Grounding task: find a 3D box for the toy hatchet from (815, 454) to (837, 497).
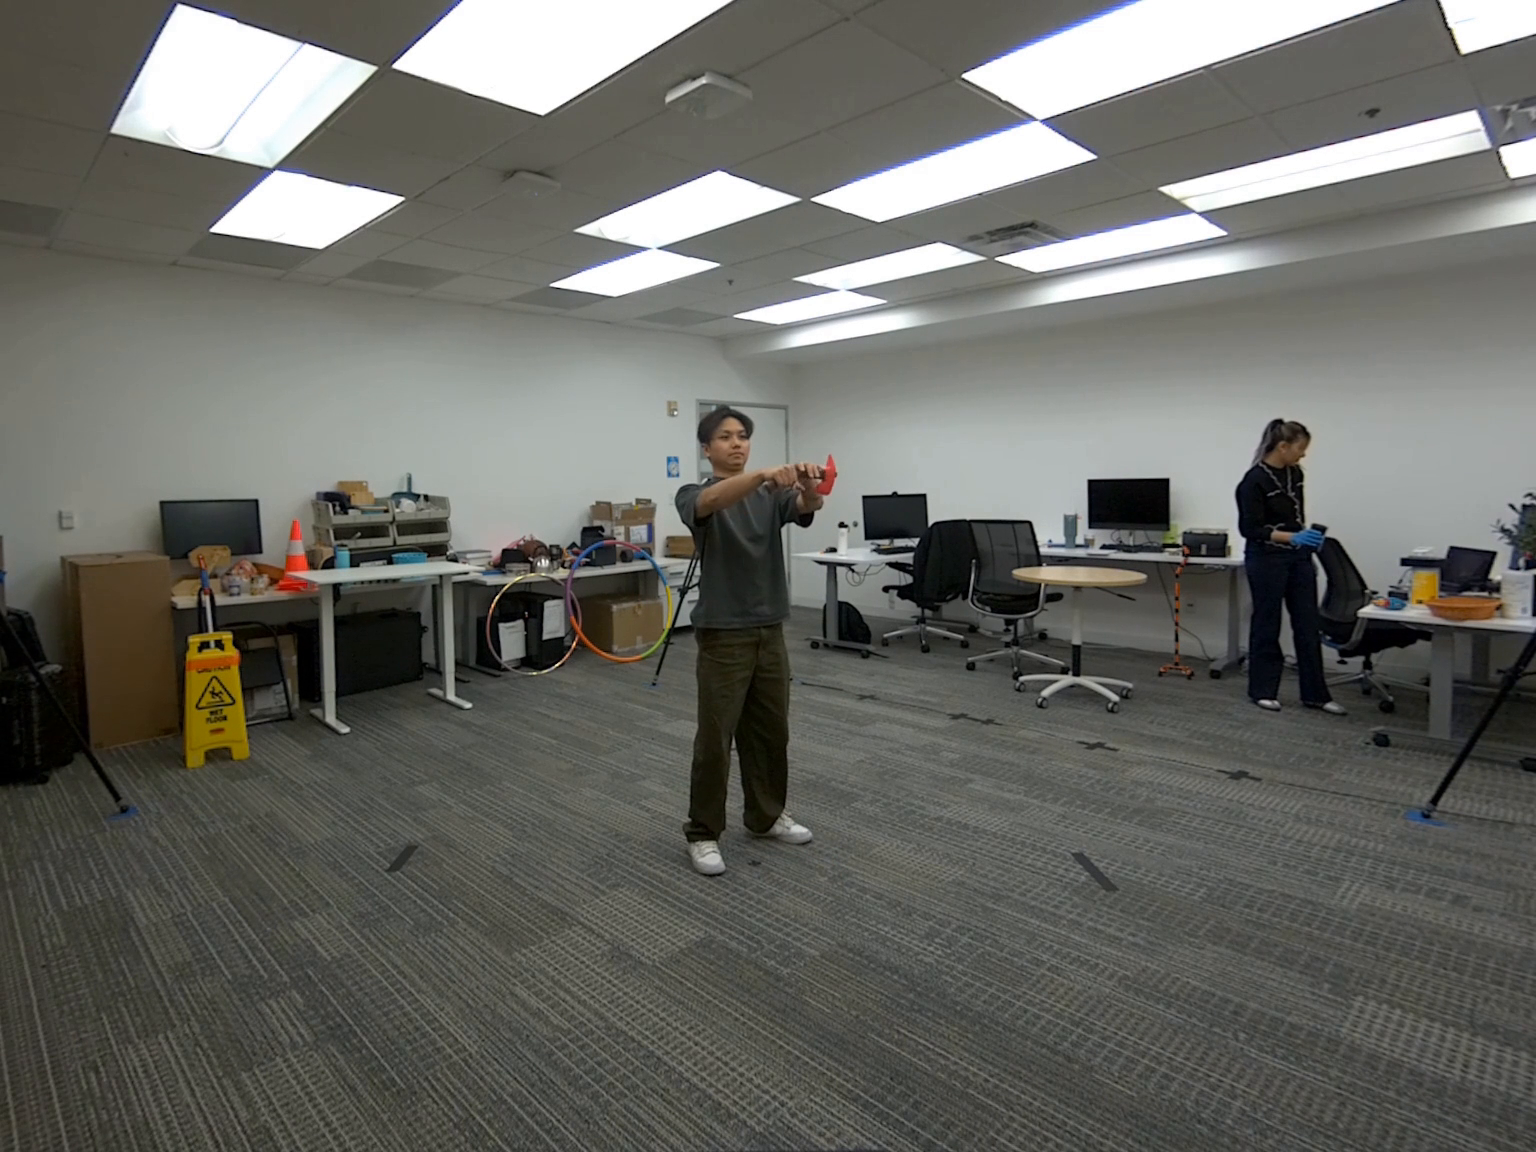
[{"bbox_3d":[0.102,-0.295,2.755,0.267,0.128,0.030,-17,19,-19],"label":"toy hatchet"}]
